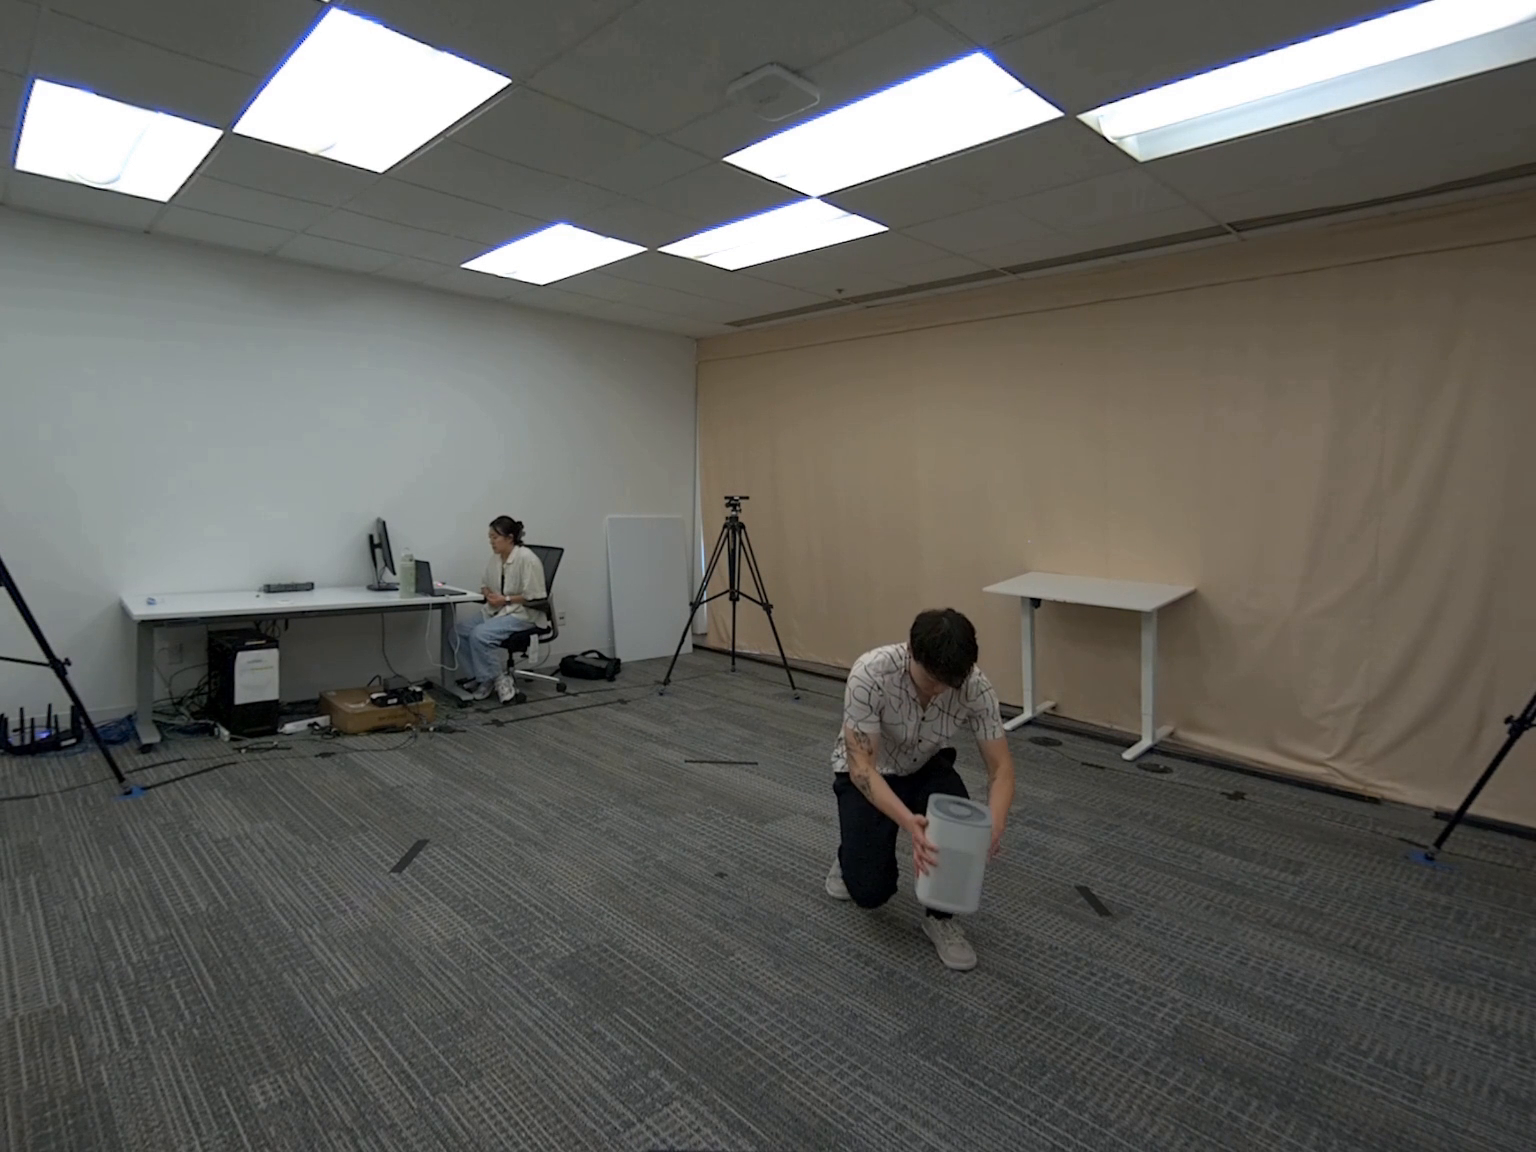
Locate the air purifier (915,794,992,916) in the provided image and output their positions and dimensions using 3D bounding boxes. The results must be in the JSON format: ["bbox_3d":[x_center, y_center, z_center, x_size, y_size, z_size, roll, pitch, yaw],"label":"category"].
[{"bbox_3d":[0.501,0.761,2.301,0.172,0.264,0.171,9,7,5],"label":"air purifier"}]
